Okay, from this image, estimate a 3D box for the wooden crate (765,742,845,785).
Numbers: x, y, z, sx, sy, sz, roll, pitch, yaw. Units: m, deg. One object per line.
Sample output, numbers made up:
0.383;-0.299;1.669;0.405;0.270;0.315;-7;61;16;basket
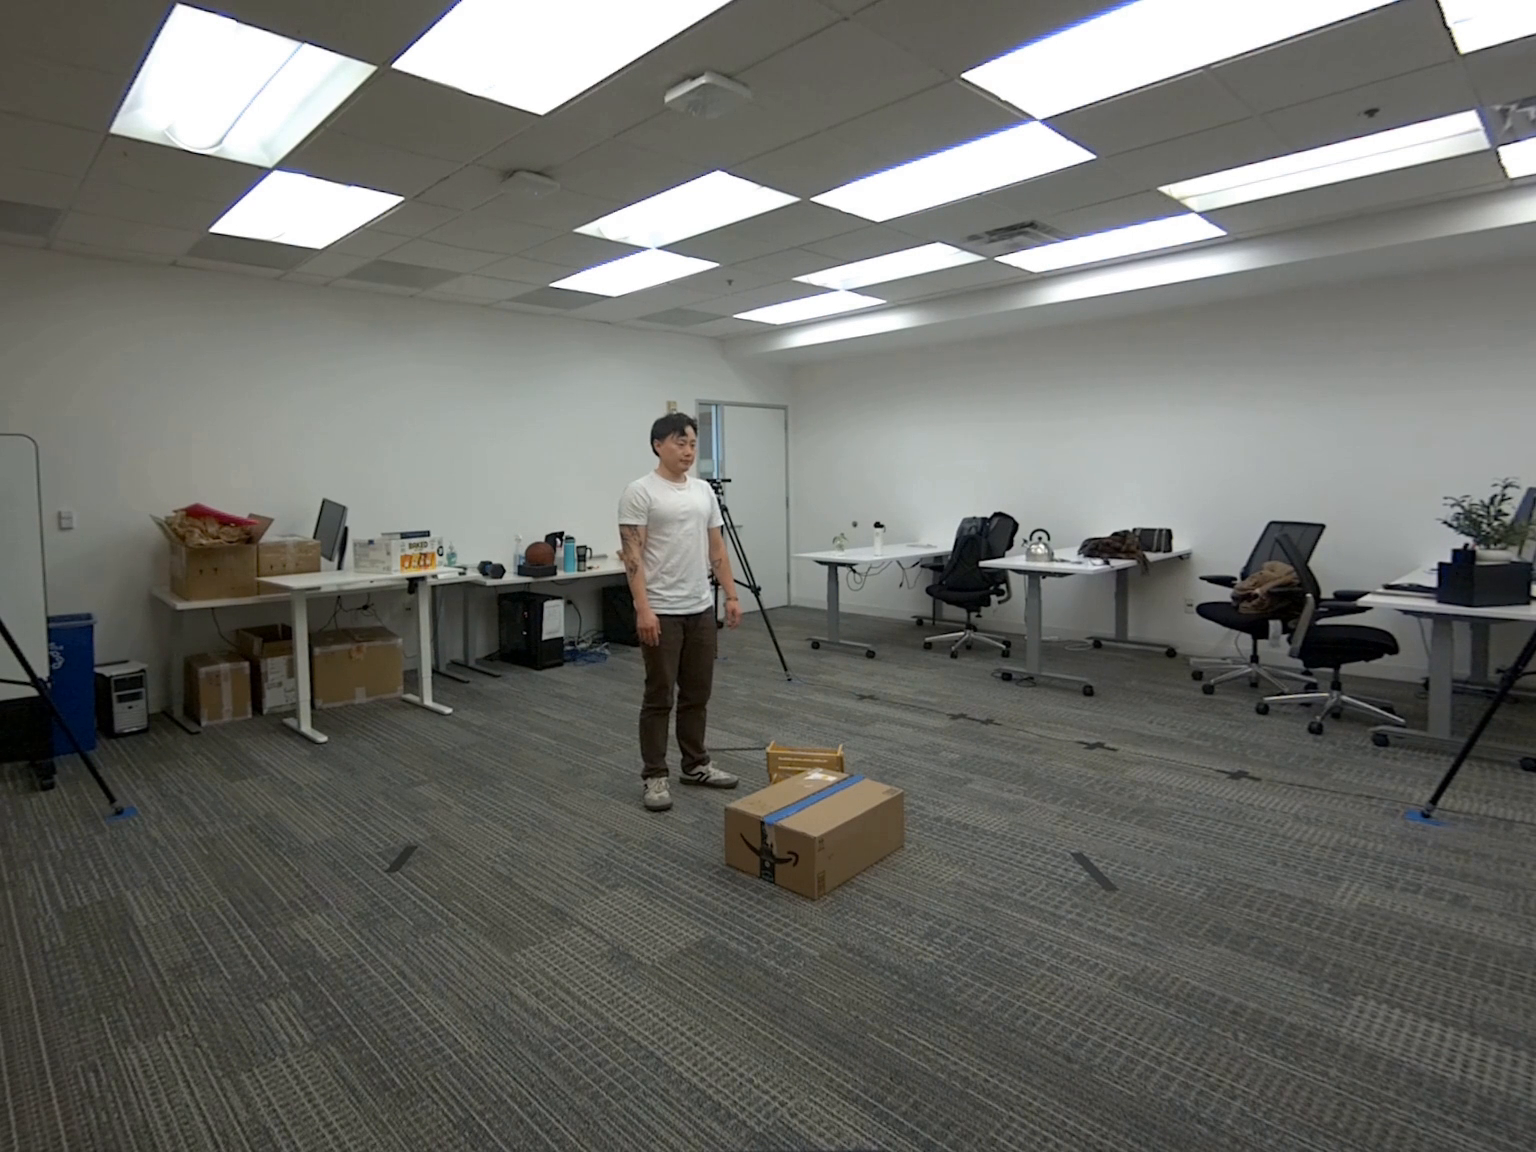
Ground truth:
0.173;0.842;3.697;0.328;0.272;0.300;0;6;11;wooden crate
